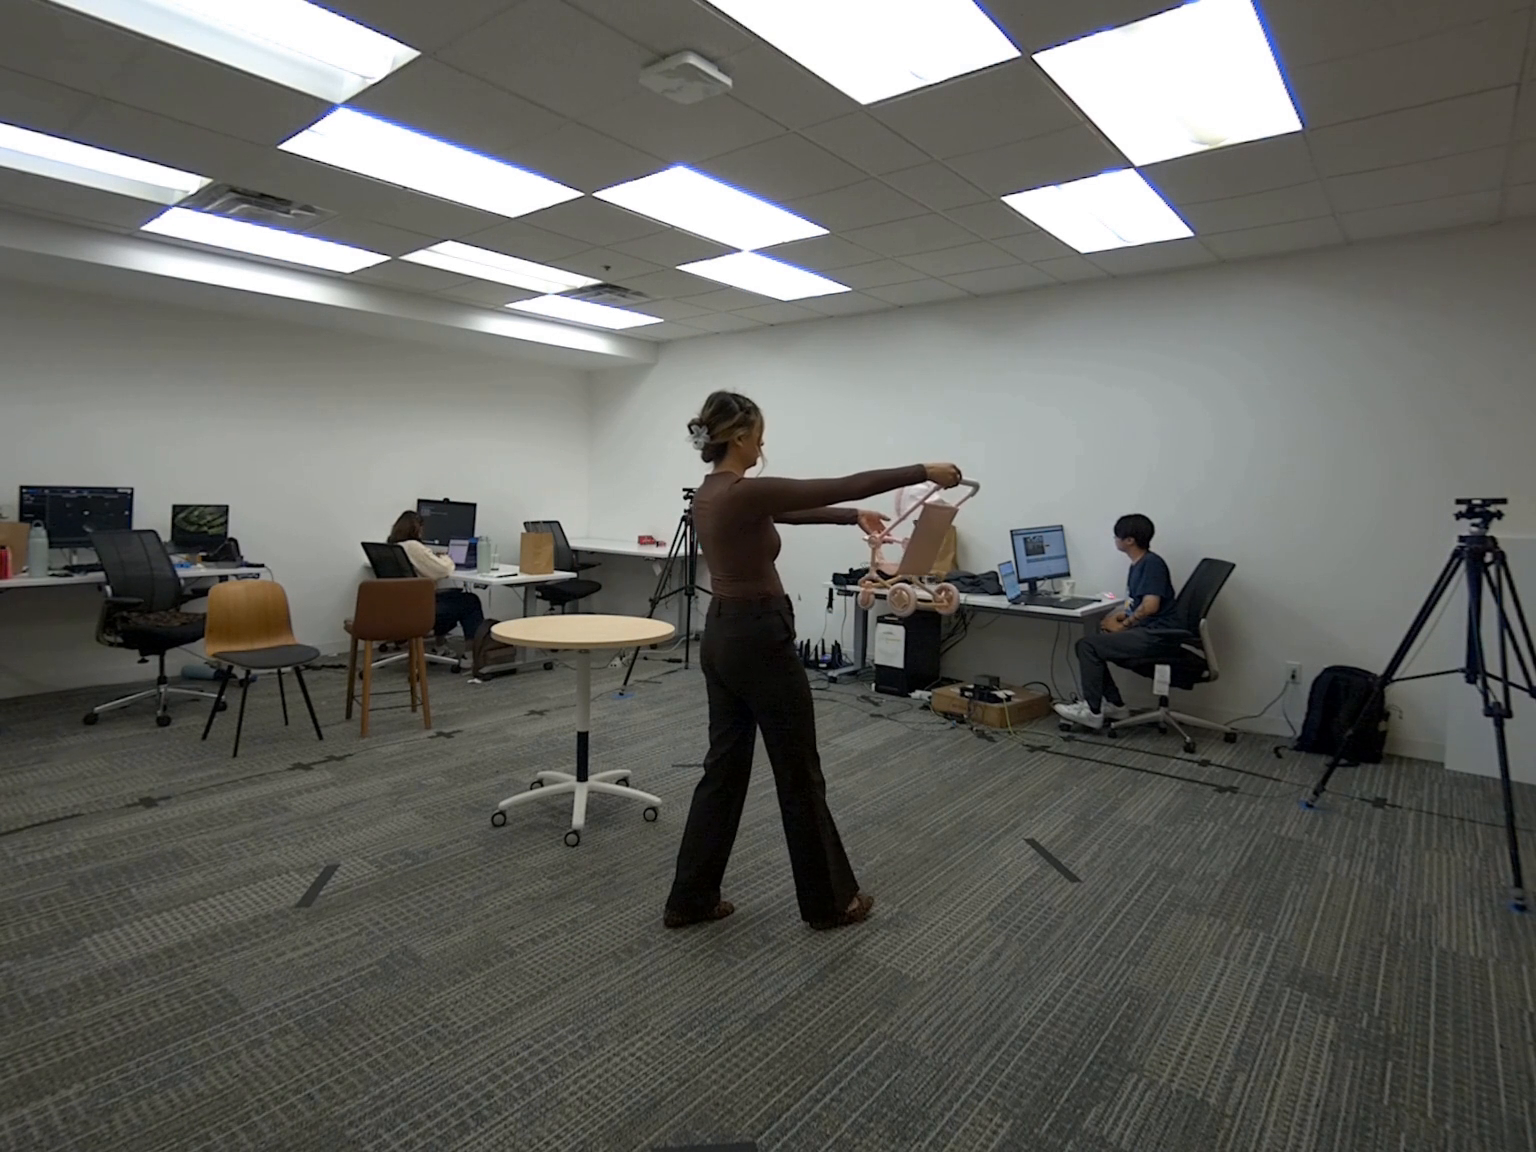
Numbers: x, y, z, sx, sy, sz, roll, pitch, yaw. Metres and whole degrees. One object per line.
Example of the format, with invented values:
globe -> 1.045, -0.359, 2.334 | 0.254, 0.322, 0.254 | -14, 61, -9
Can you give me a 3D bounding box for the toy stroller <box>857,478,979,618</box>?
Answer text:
toy stroller -> 0.472, -0.105, 2.907 | 0.272, 0.531, 0.355 | 4, 12, -38
